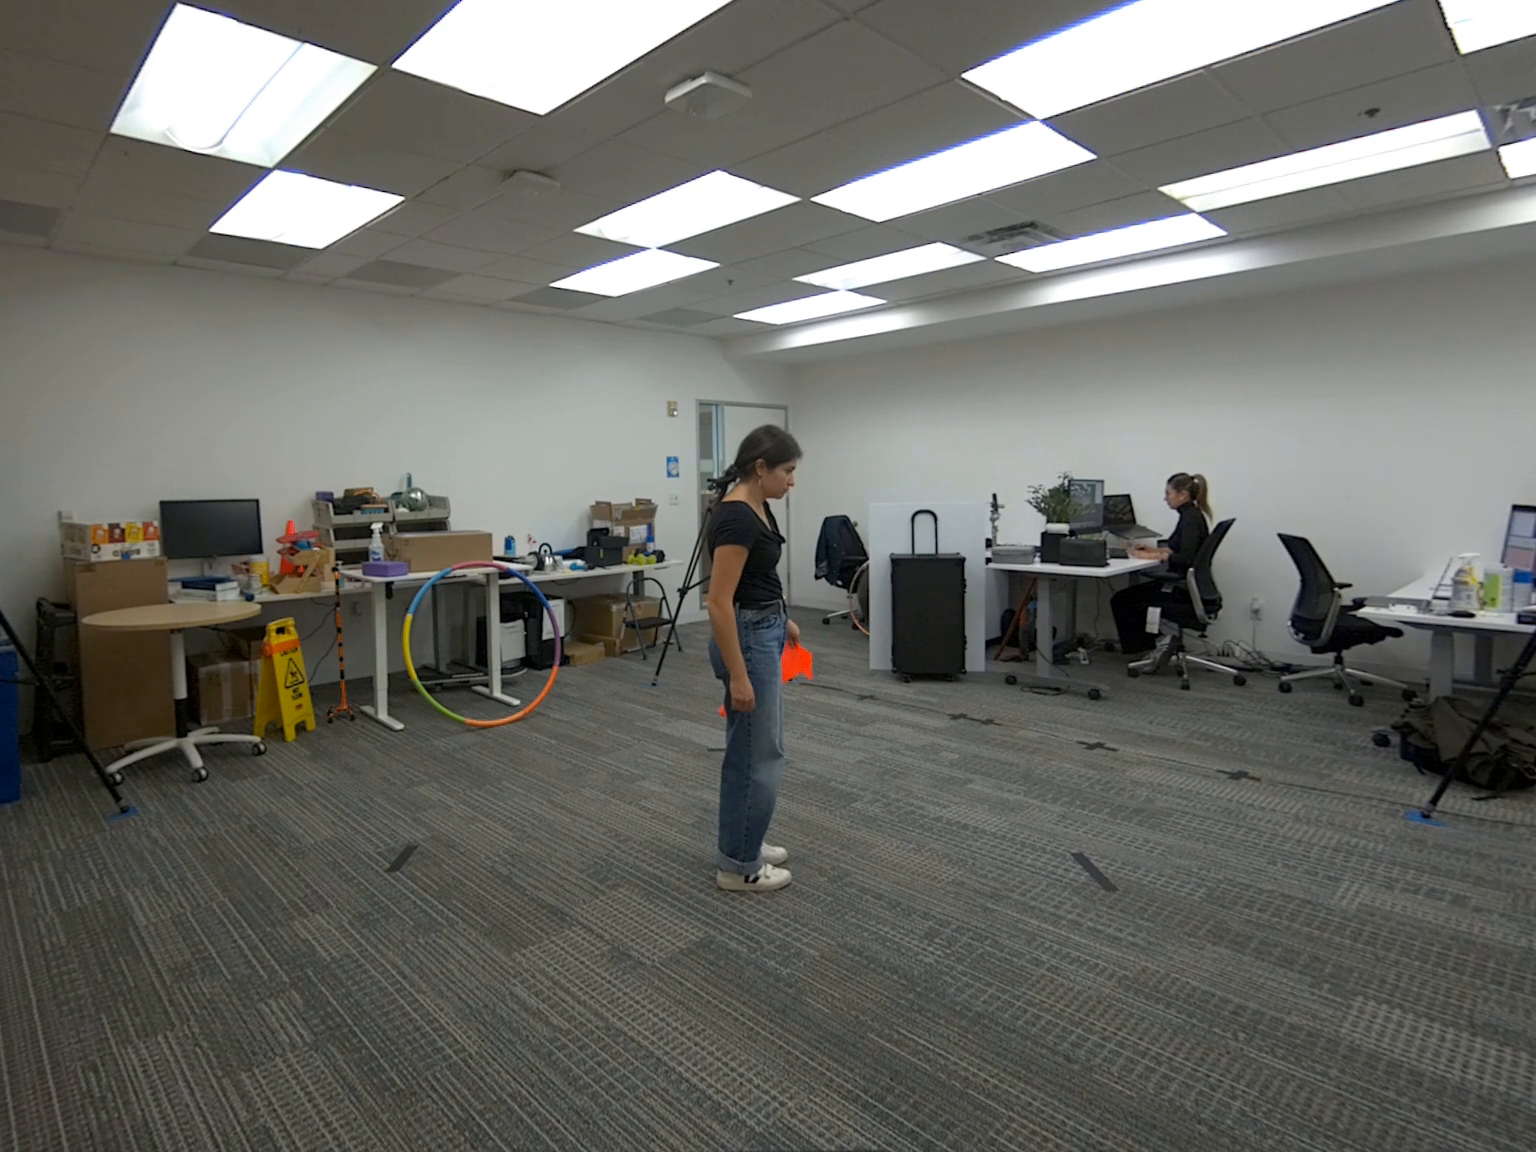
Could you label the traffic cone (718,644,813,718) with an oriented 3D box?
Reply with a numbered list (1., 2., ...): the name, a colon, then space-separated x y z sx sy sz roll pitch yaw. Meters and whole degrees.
1. traffic cone: -0.032 0.389 3.260 0.382 0.197 0.212 -37 59 -21
